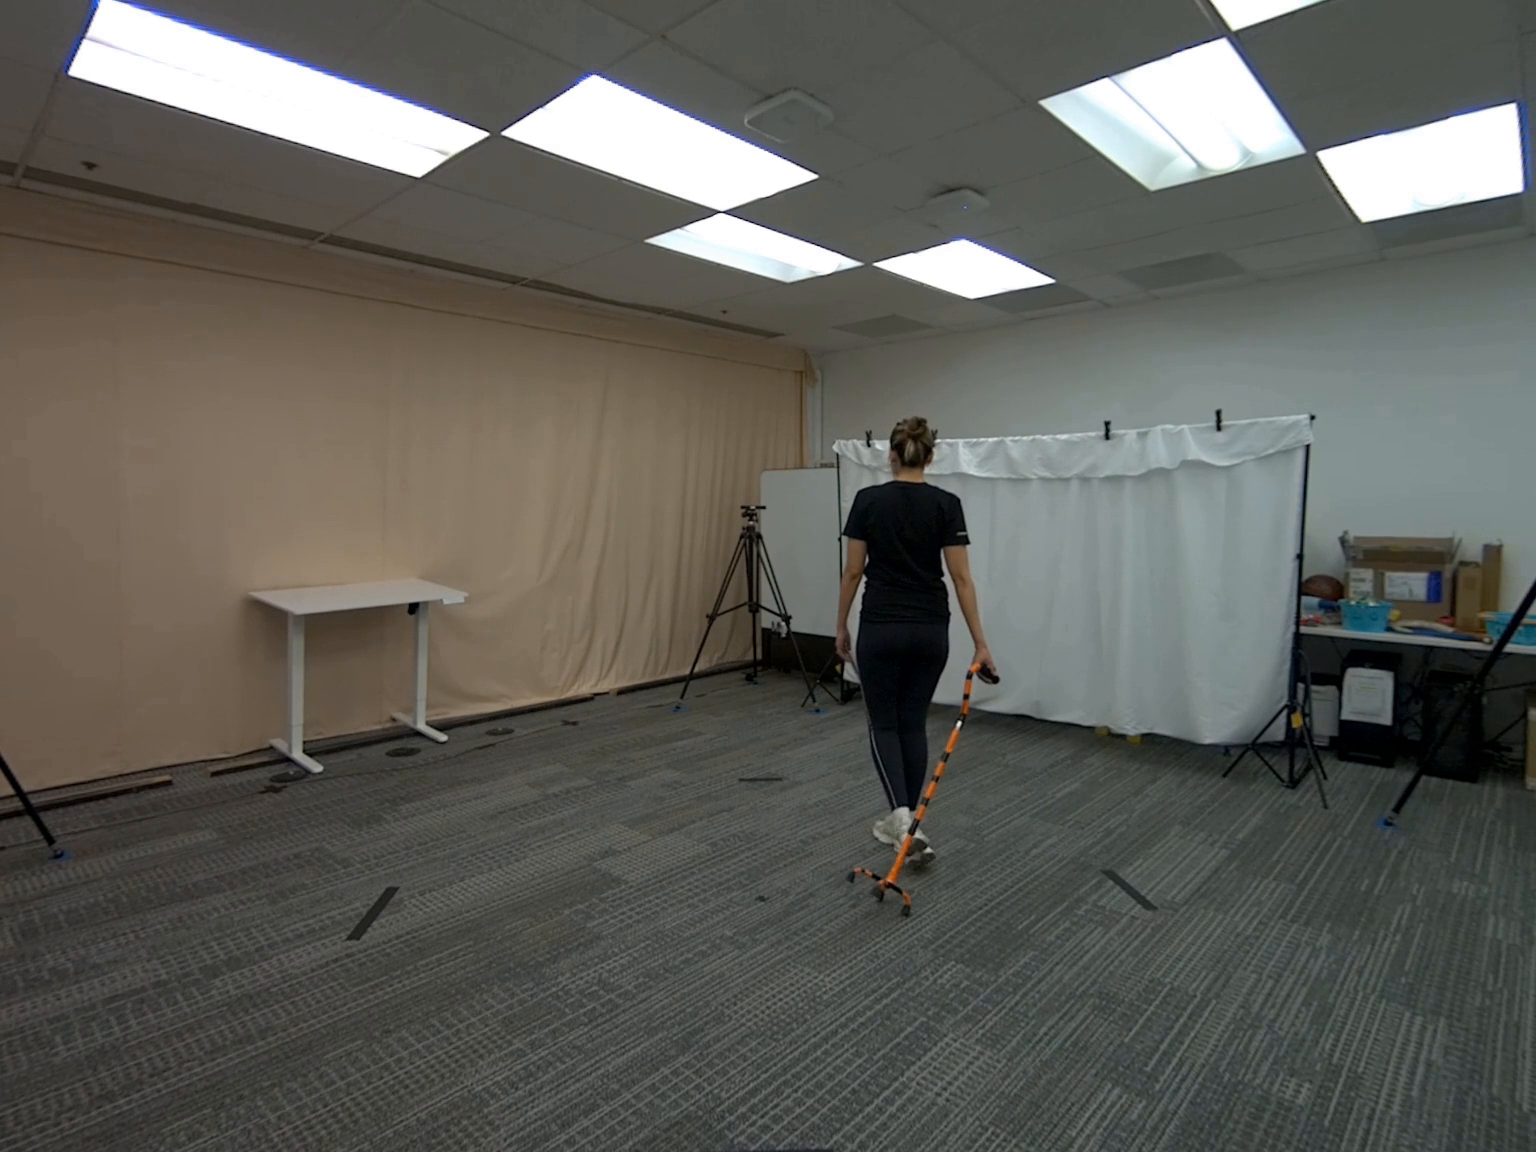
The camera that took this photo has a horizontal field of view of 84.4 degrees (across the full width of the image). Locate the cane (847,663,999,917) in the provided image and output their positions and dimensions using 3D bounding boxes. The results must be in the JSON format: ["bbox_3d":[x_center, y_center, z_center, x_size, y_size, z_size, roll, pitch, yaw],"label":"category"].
[{"bbox_3d":[0.587,0.714,2.979,0.200,0.908,0.156,38,-18,-30],"label":"cane"}]
